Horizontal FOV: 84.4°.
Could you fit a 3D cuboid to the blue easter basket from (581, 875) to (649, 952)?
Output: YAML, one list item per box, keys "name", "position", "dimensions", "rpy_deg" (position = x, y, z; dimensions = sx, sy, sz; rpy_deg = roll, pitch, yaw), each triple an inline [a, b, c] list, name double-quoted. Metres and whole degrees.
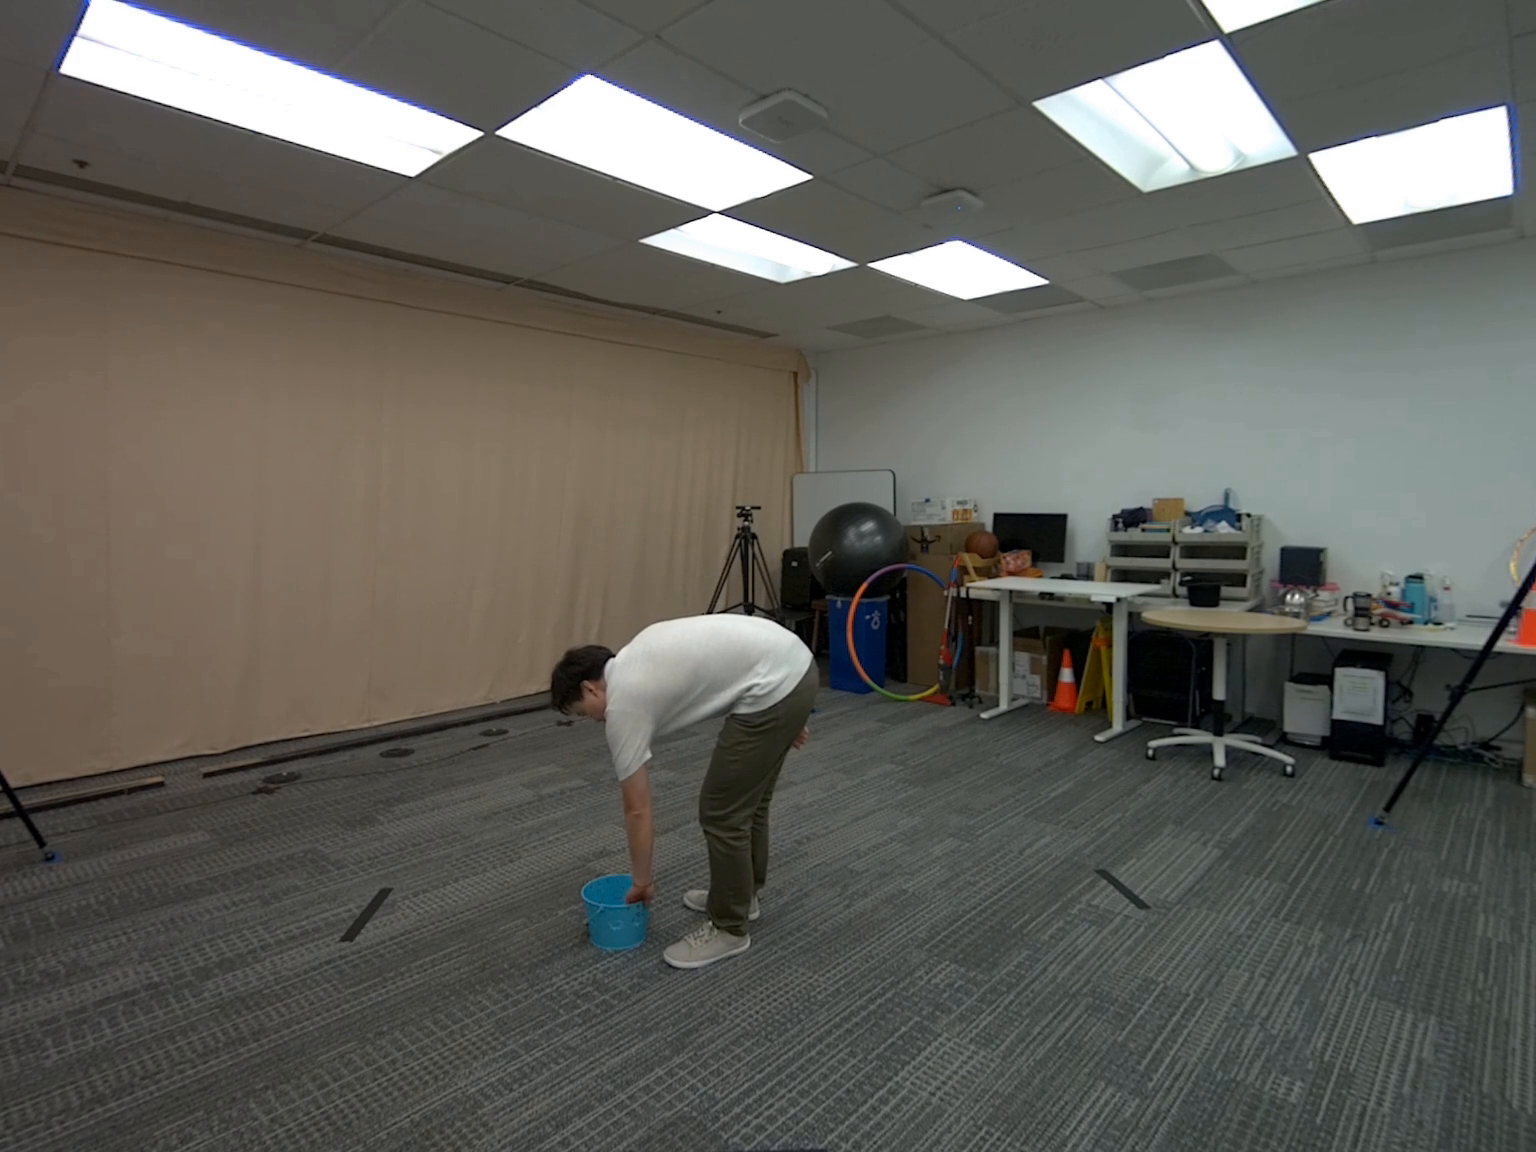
- name: "blue easter basket"
  position: [-0.489, 1.092, 2.730]
  dimensions: [0.243, 0.155, 0.244]
  rpy_deg: [0, 5, -2]
